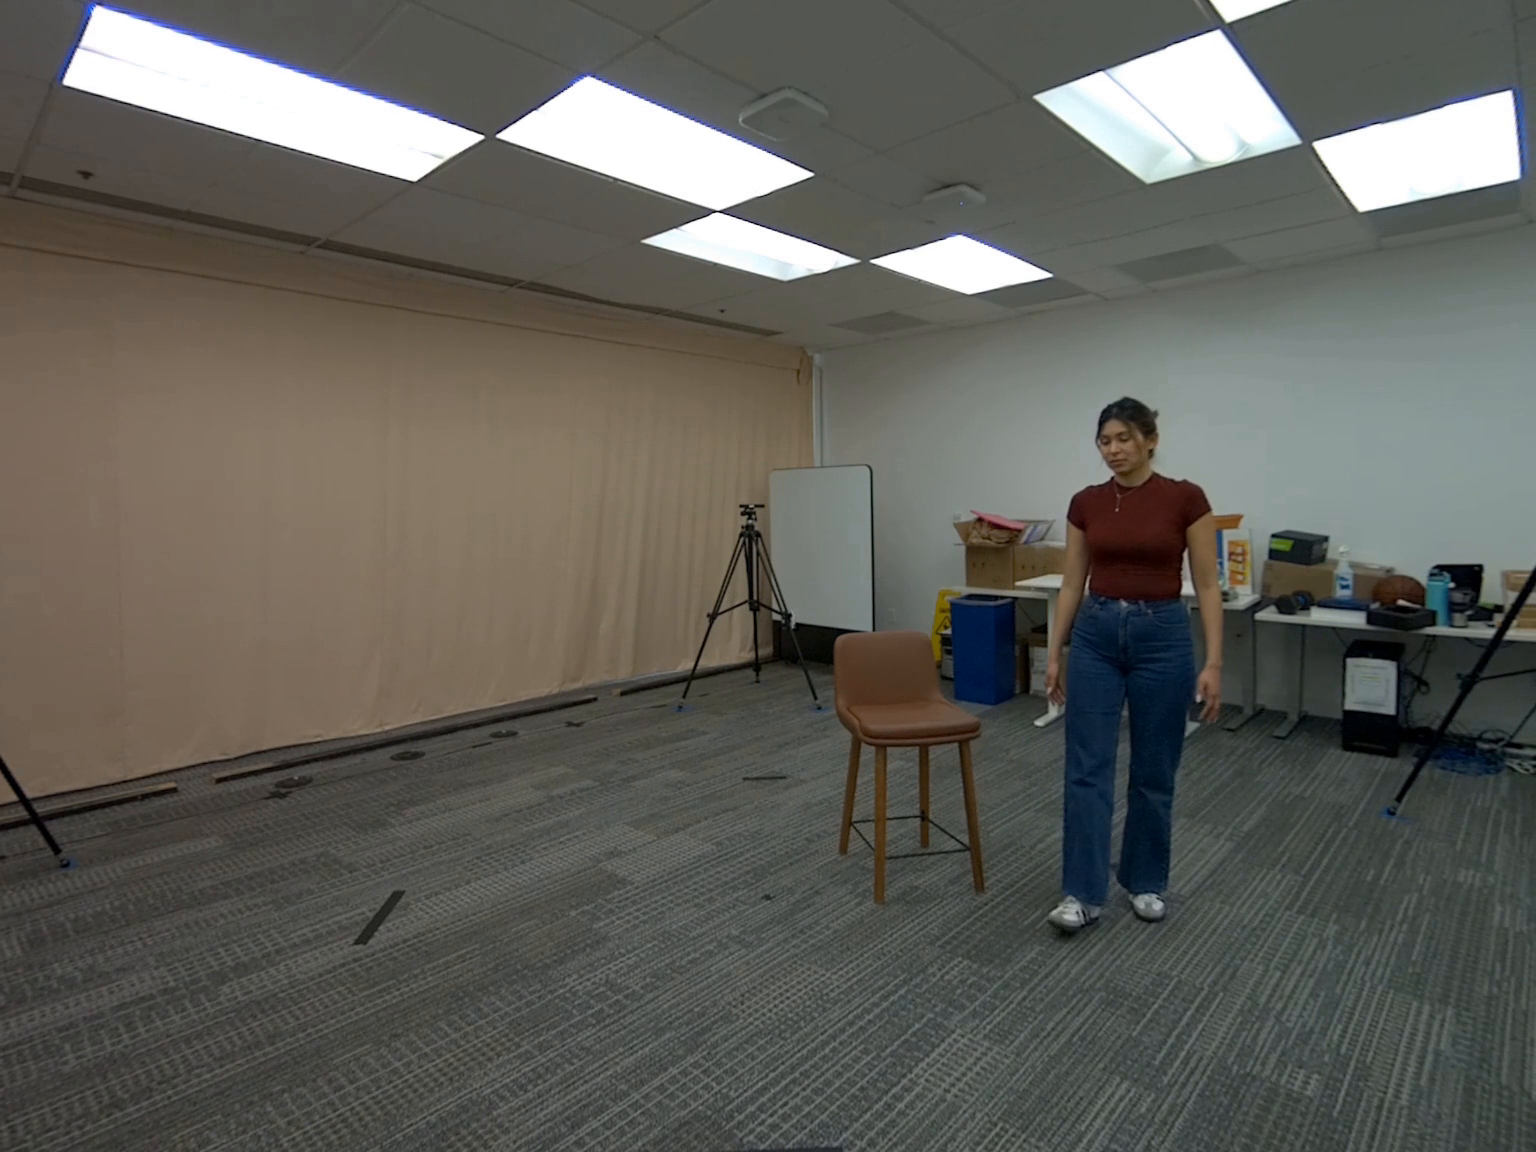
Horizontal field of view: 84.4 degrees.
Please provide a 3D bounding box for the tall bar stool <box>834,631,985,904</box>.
[{"bbox_3d":[0.519,0.683,3.157,0.450,0.889,0.474,-1,2,-13],"label":"tall bar stool"}]
